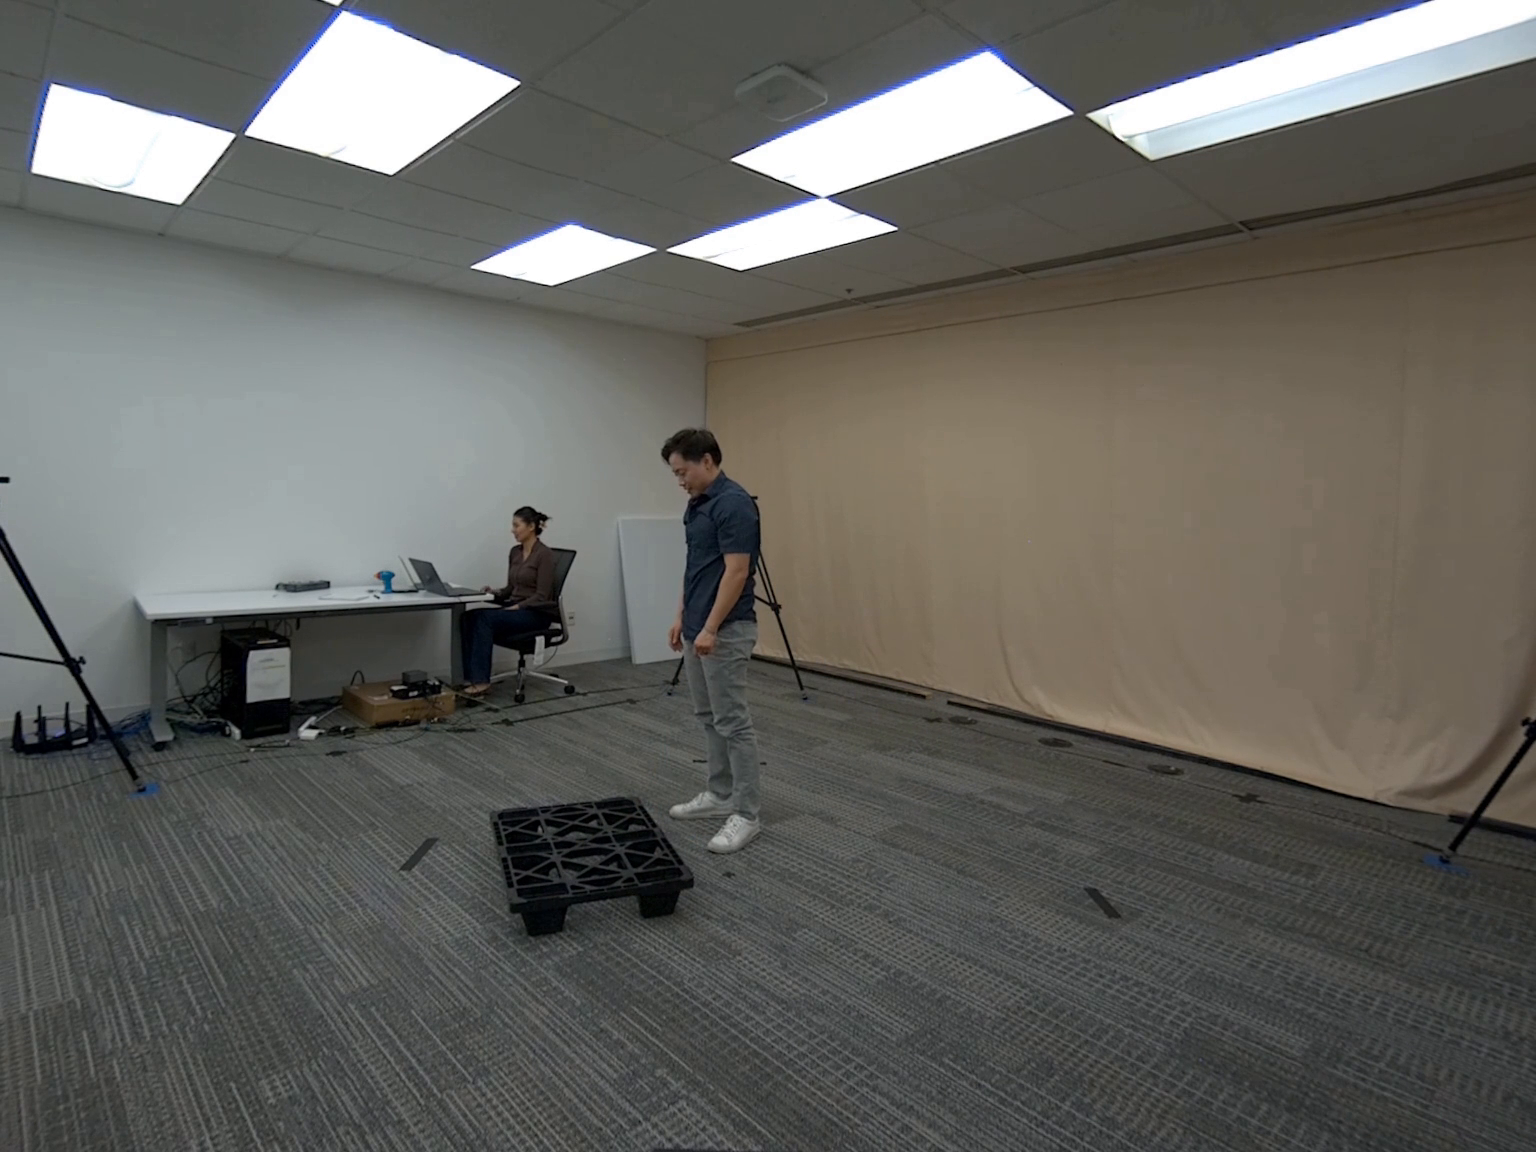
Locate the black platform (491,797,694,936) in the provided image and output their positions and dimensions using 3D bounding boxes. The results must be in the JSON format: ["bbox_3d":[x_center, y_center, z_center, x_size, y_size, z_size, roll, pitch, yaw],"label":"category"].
[{"bbox_3d":[-0.680,1.030,3.048,0.596,0.143,0.821,-1,6,-22],"label":"black platform"}]
